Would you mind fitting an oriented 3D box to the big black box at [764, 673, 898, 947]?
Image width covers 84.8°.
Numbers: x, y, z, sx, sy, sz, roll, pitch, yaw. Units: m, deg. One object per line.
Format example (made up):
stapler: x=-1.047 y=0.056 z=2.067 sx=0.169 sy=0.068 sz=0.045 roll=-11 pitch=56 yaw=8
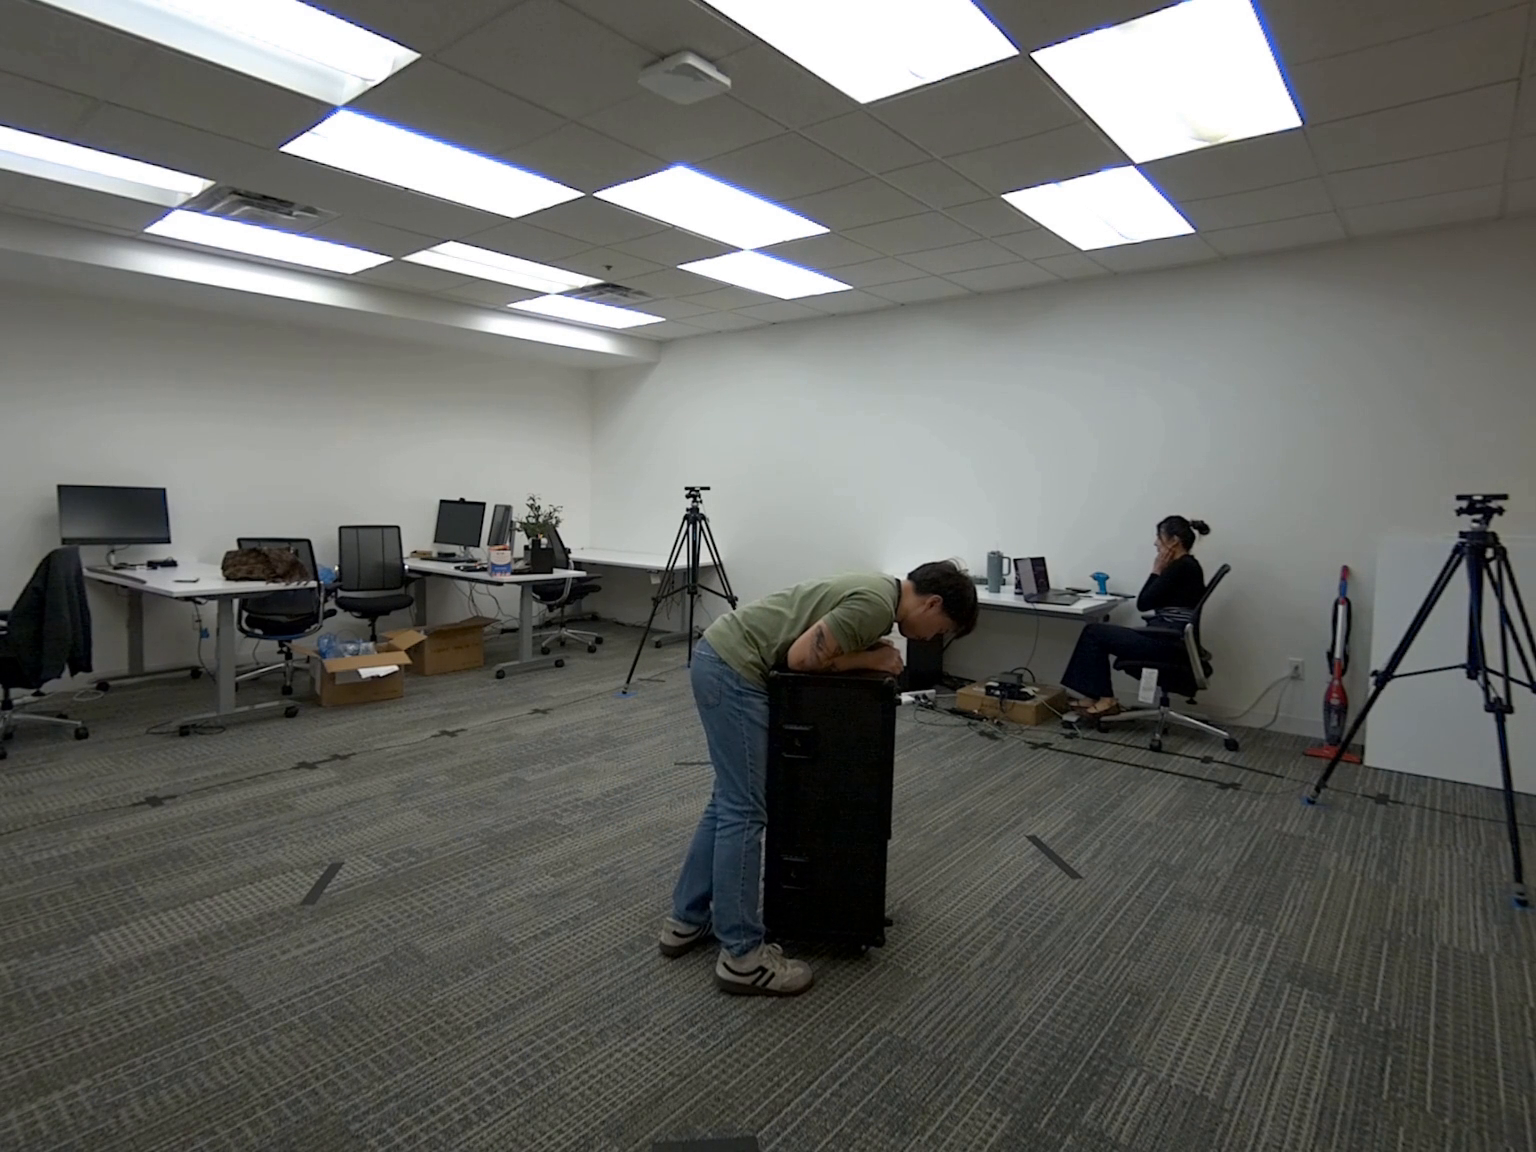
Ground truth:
big black box: x=0.192 y=0.689 z=2.705 sx=0.398 sy=0.859 sz=0.521 roll=3 pitch=3 yaw=3
